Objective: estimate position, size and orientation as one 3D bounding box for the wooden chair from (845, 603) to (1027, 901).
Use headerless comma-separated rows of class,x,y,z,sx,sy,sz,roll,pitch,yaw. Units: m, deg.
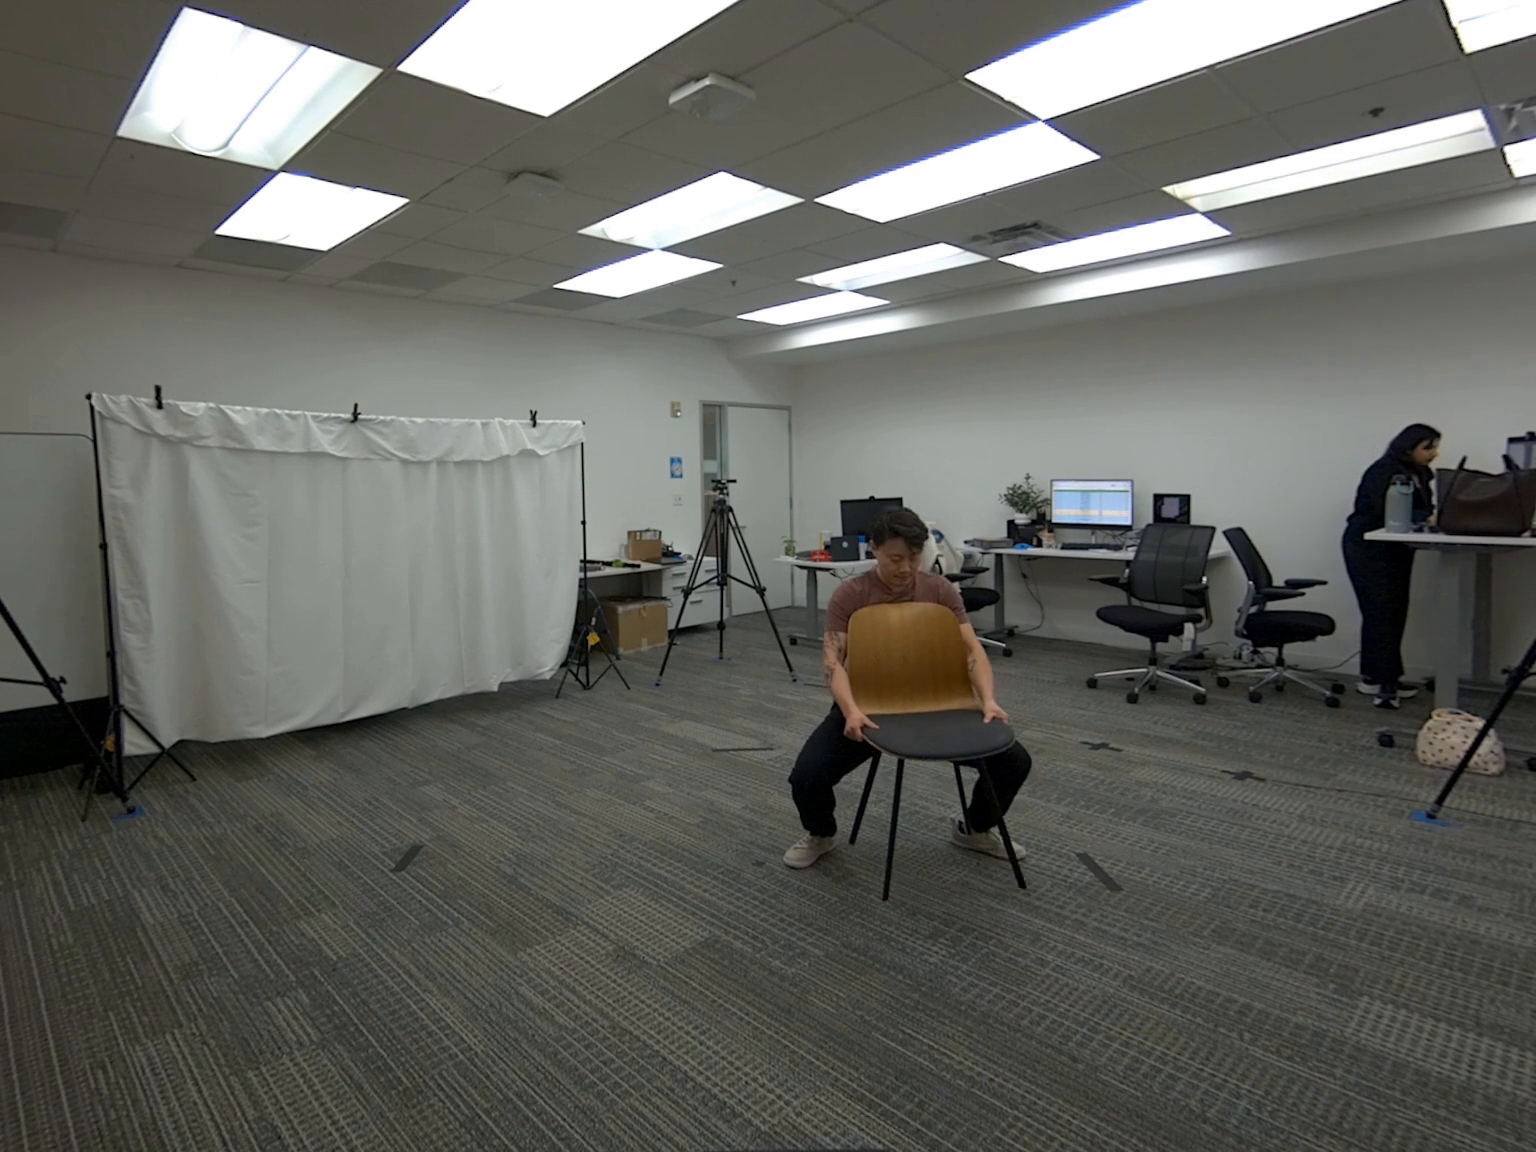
wooden chair,0.522,0.535,2.804,0.475,0.879,0.526,-2,-1,-7
